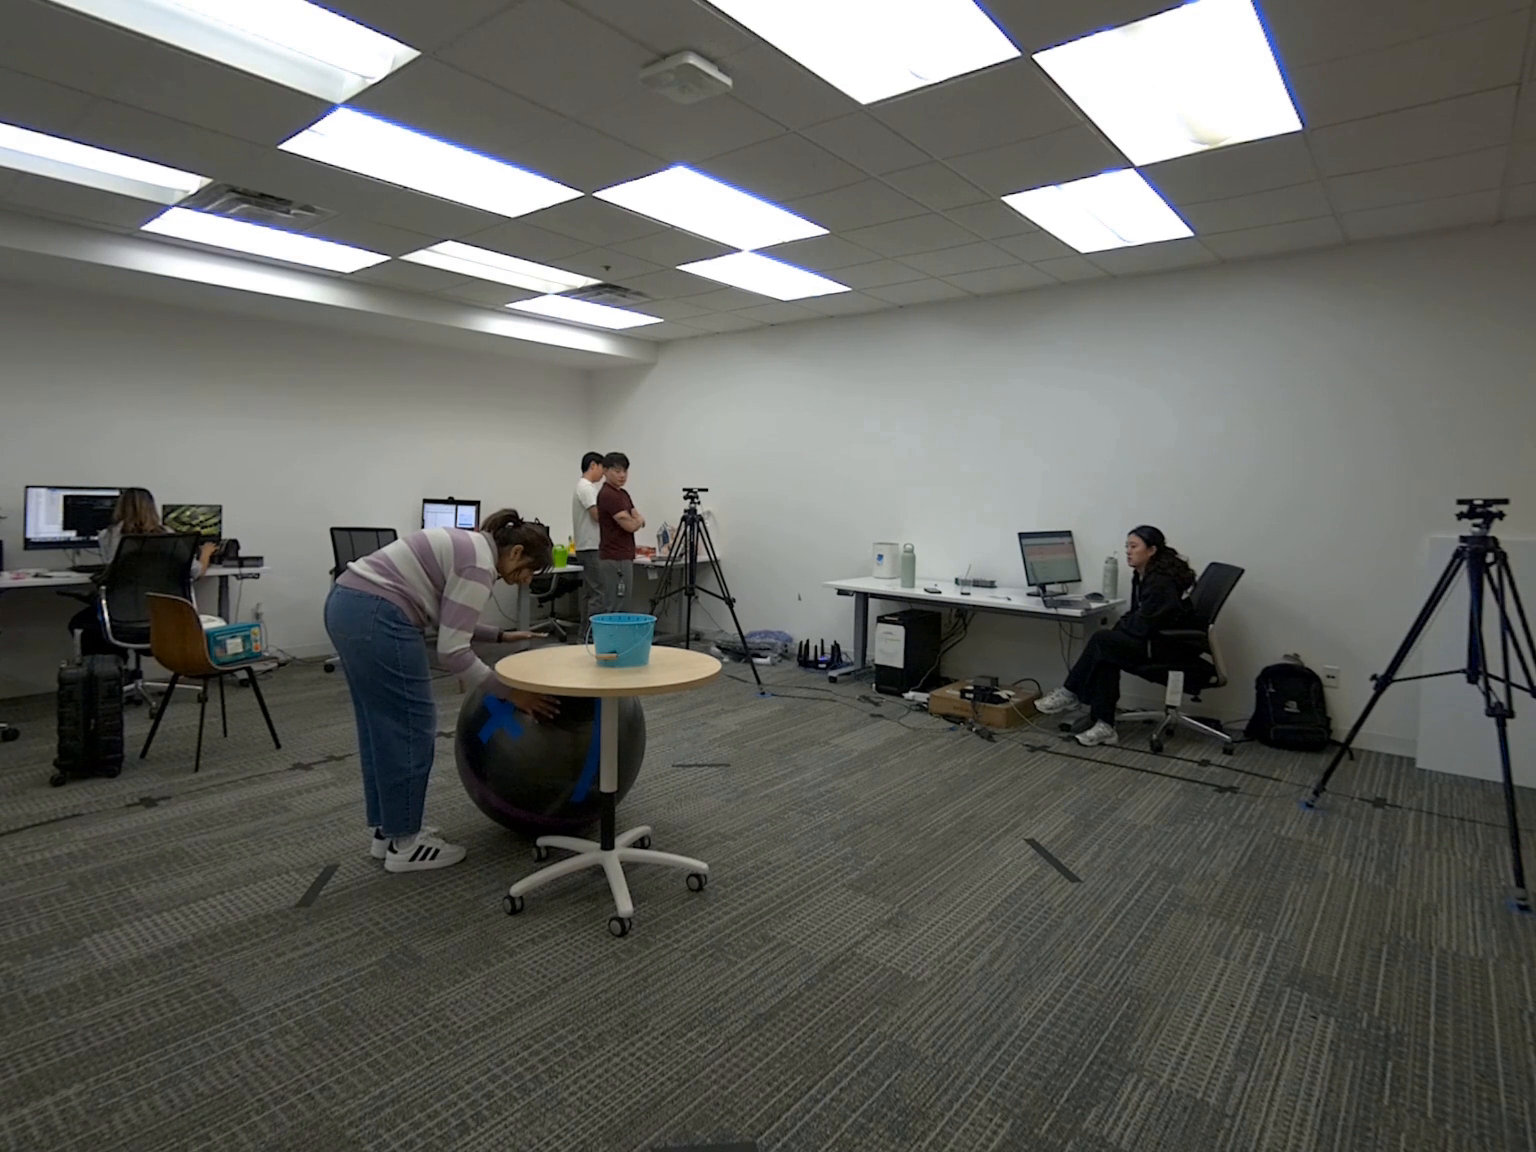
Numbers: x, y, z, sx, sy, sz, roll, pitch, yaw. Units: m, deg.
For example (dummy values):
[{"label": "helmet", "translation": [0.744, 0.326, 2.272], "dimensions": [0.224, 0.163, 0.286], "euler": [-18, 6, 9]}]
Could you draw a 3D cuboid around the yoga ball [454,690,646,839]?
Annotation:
[{"label": "yoga ball", "translation": [-0.883, 0.655, 3.454], "dimensions": [0.757, 0.755, 0.762], "euler": [1, 4, -2]}]
